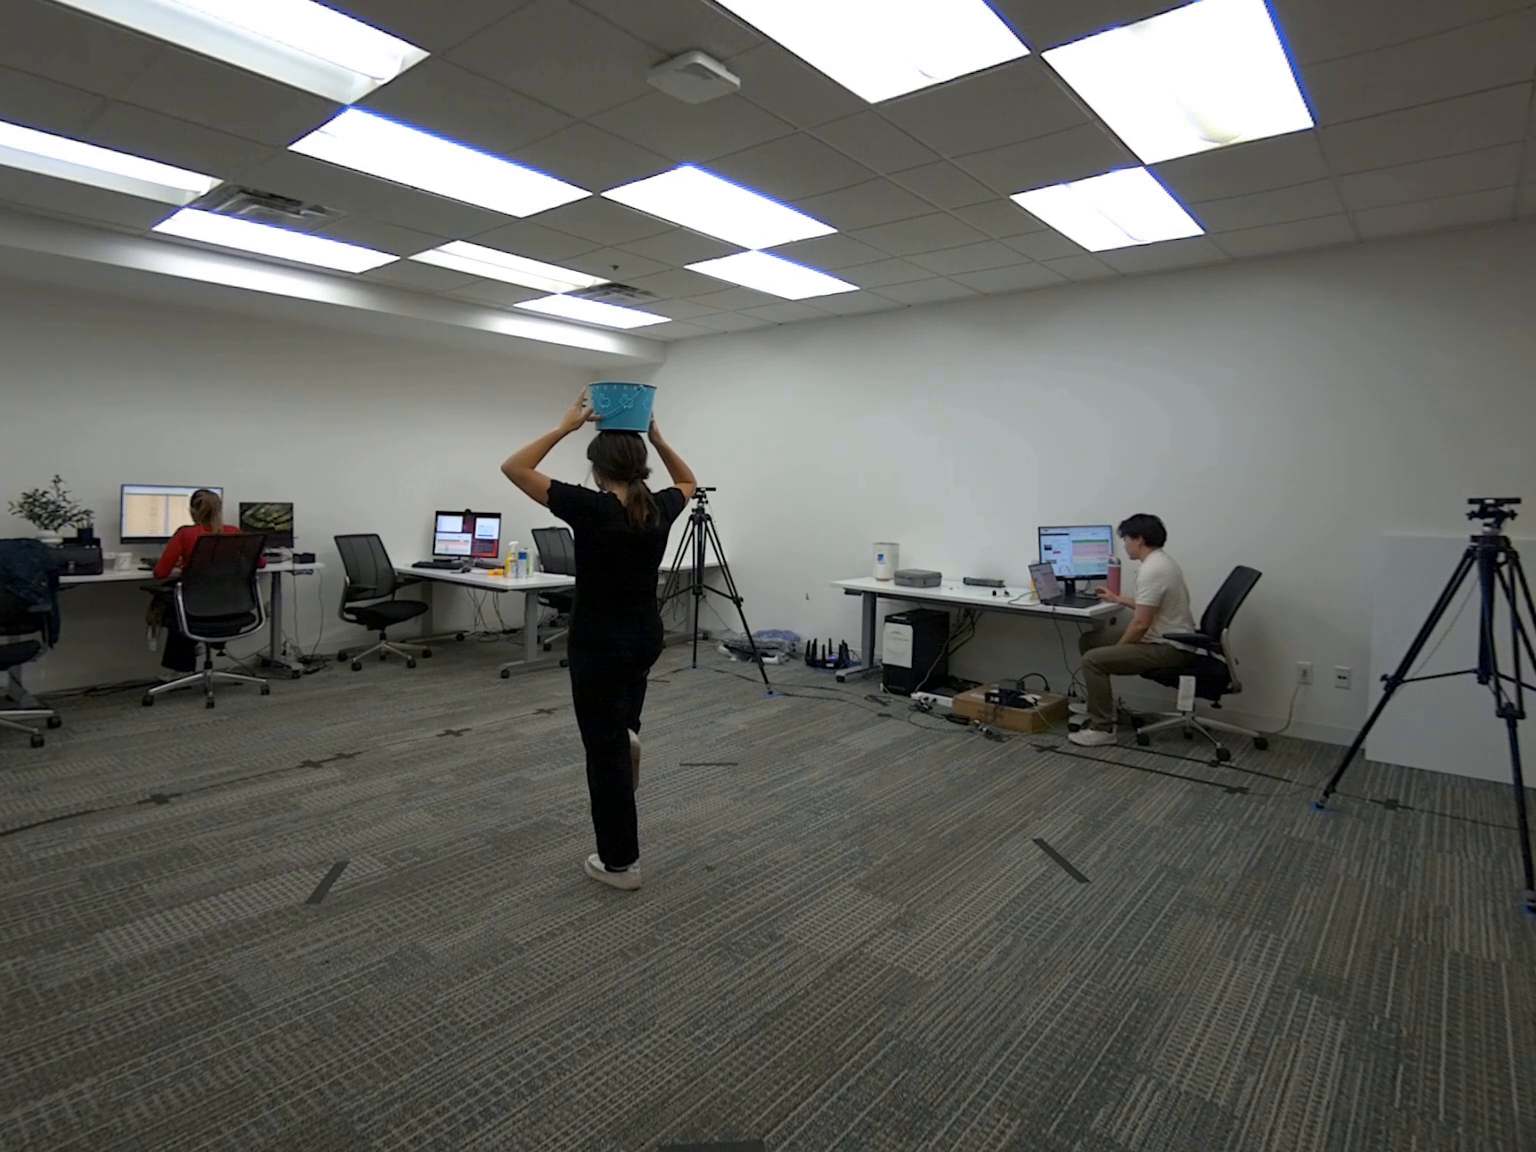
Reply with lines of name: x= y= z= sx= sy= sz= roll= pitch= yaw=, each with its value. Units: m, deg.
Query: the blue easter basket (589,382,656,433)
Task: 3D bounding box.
blue easter basket: x=-0.509 y=-0.571 z=2.890 sx=0.243 sy=0.155 sz=0.245 roll=2 pitch=6 yaw=-2
